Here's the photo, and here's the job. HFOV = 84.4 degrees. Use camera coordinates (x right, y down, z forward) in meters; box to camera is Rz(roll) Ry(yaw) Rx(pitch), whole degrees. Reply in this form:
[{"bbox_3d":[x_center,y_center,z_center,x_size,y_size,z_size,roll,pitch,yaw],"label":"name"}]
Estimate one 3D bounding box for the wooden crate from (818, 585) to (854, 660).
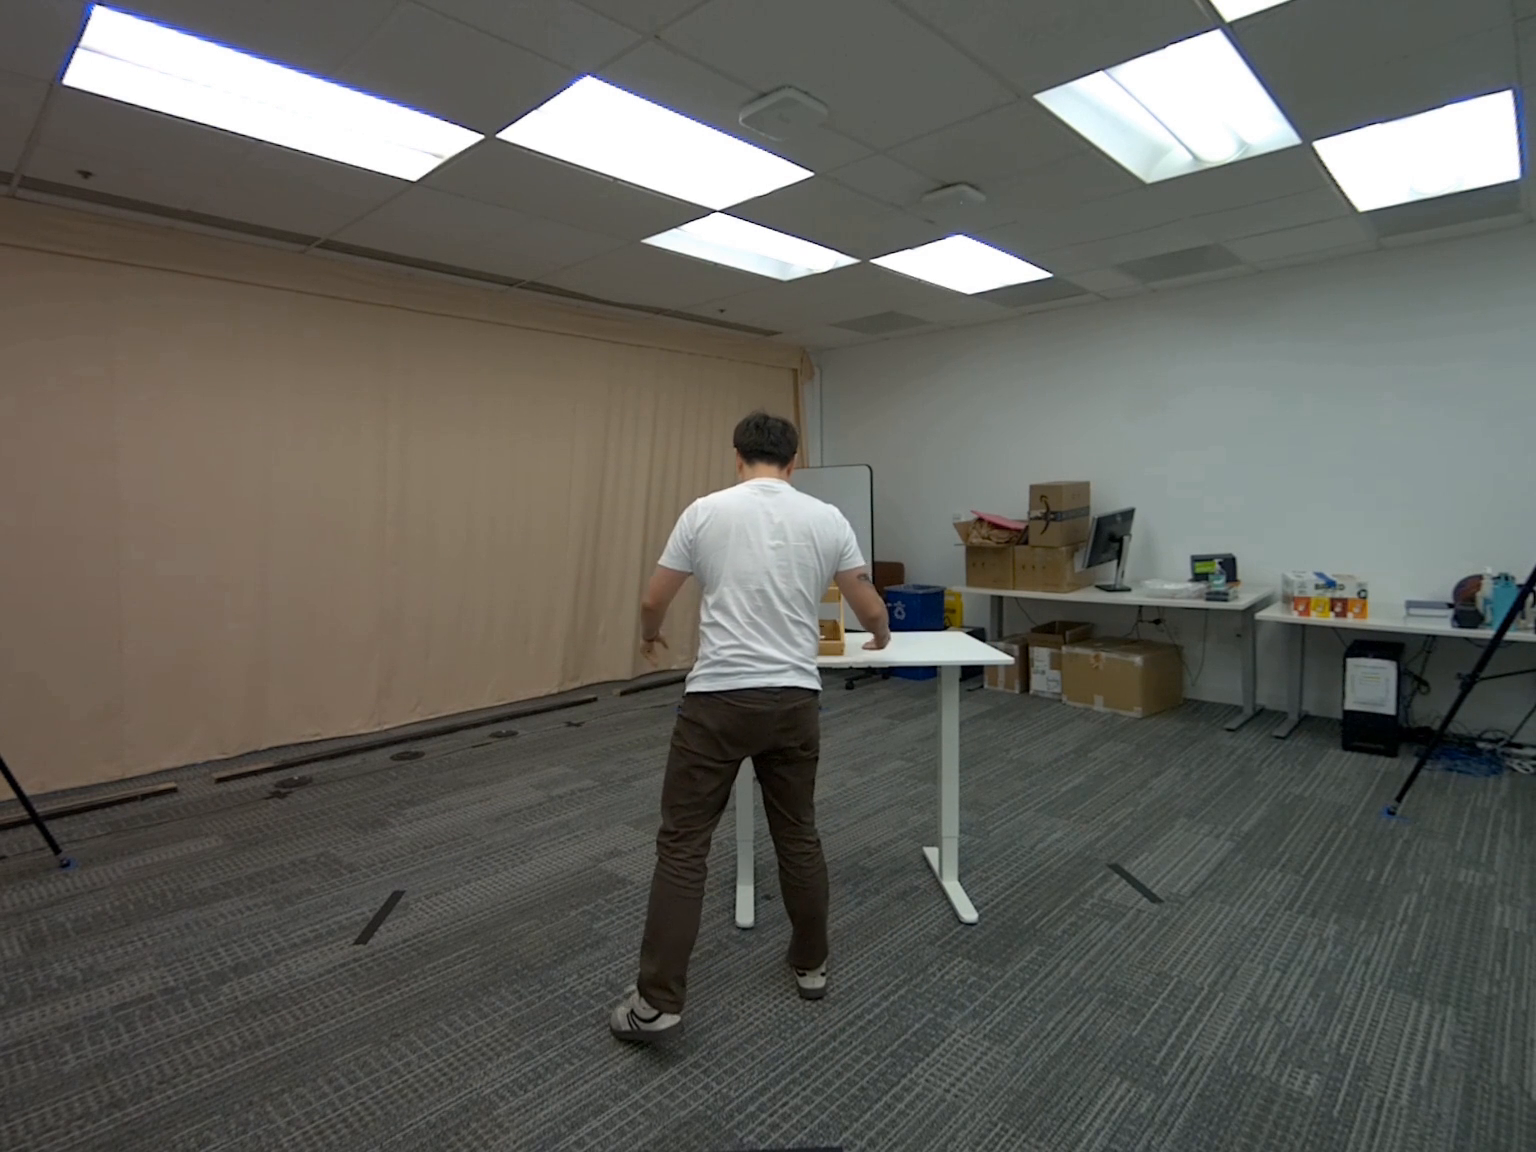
[{"bbox_3d":[0.115,0.128,2.947,0.325,0.273,0.302,0,2,1],"label":"wooden crate"}]
